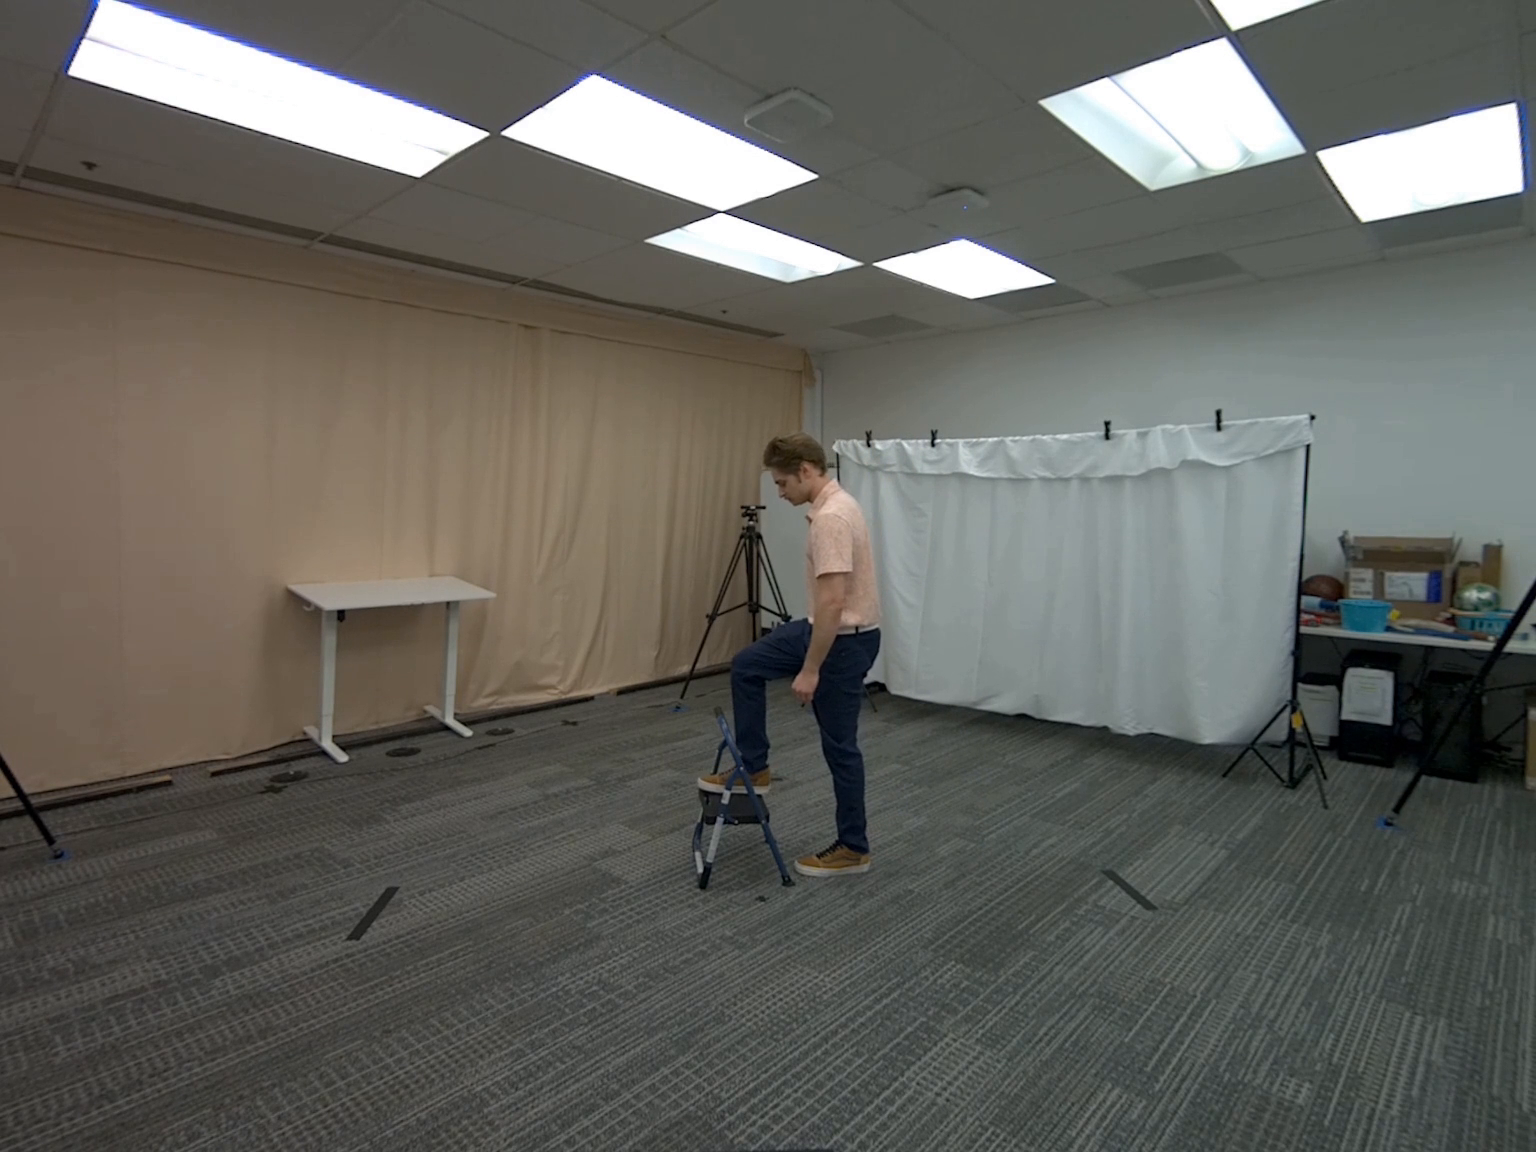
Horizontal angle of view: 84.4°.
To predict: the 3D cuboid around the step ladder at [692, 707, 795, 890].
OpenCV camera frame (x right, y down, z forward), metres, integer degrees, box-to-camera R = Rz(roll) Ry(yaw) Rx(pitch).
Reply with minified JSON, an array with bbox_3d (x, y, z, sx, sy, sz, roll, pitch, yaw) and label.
[{"bbox_3d":[-0.111,0.819,3.258,0.346,0.604,0.435,-1,4,-8],"label":"step ladder"}]
